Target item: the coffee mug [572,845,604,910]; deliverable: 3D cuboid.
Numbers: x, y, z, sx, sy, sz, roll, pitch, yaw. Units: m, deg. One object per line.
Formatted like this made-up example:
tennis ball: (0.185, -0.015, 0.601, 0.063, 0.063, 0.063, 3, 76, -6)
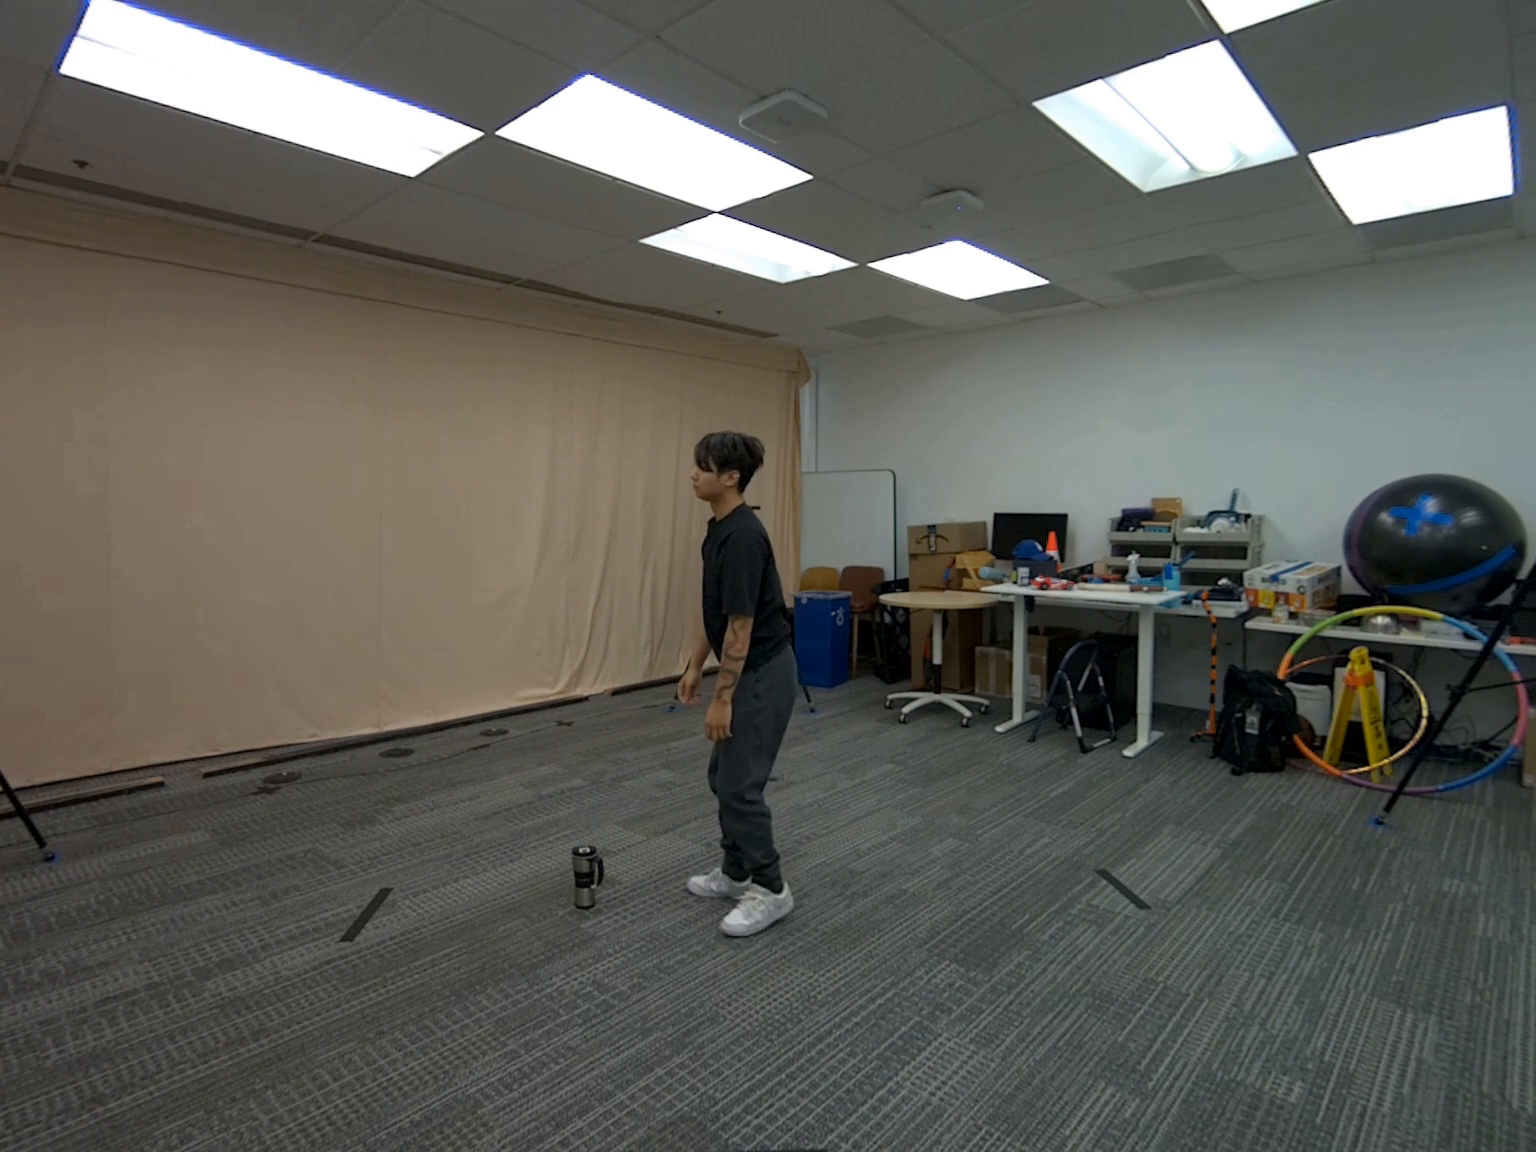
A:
coffee mug: (-0.629, 1.059, 2.922, 0.126, 0.203, 0.085, -1, -3, 42)
